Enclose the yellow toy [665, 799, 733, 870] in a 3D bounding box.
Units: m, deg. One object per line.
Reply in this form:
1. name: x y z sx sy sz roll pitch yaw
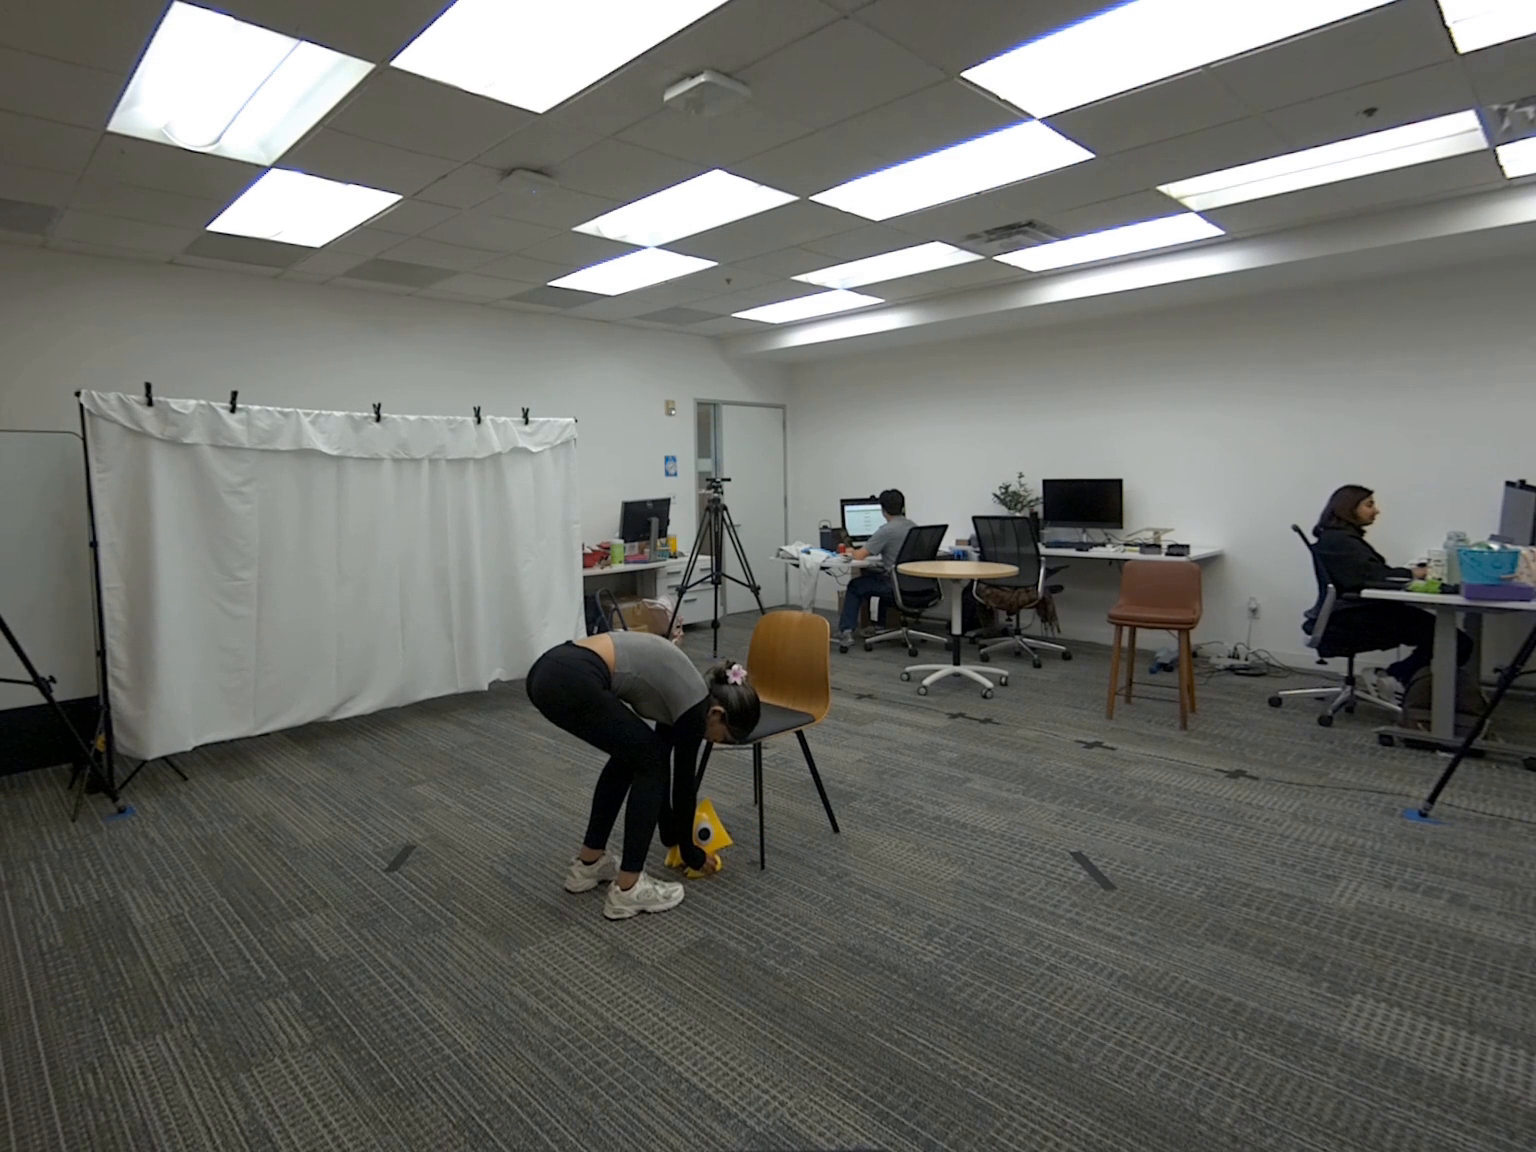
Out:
1. yellow toy: -0.258 0.933 3.103 0.188 0.230 0.211 -3 5 -43
